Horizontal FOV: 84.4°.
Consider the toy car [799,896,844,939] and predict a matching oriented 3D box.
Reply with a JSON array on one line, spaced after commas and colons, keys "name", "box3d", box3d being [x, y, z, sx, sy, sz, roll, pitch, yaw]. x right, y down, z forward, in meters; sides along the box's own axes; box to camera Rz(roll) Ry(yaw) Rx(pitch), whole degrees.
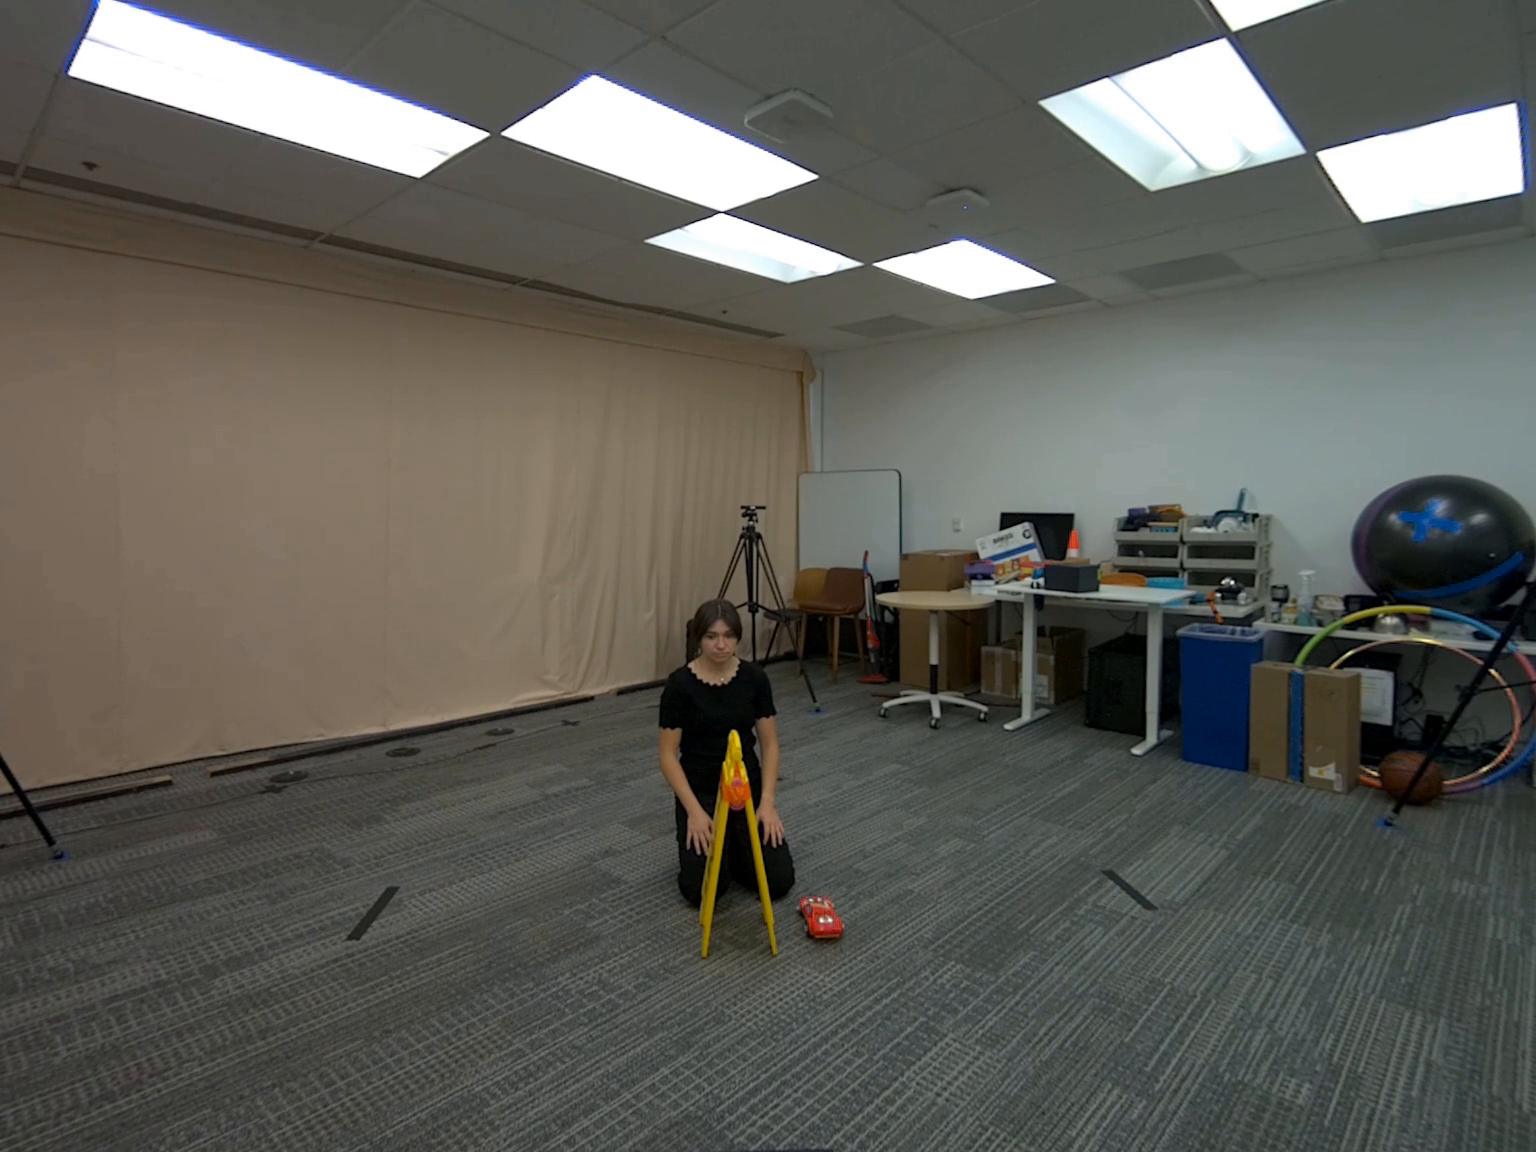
[{"name": "toy car", "box3d": [0.174, 1.131, 2.765, 0.129, 0.083, 0.255, 0, -6, -8]}]
